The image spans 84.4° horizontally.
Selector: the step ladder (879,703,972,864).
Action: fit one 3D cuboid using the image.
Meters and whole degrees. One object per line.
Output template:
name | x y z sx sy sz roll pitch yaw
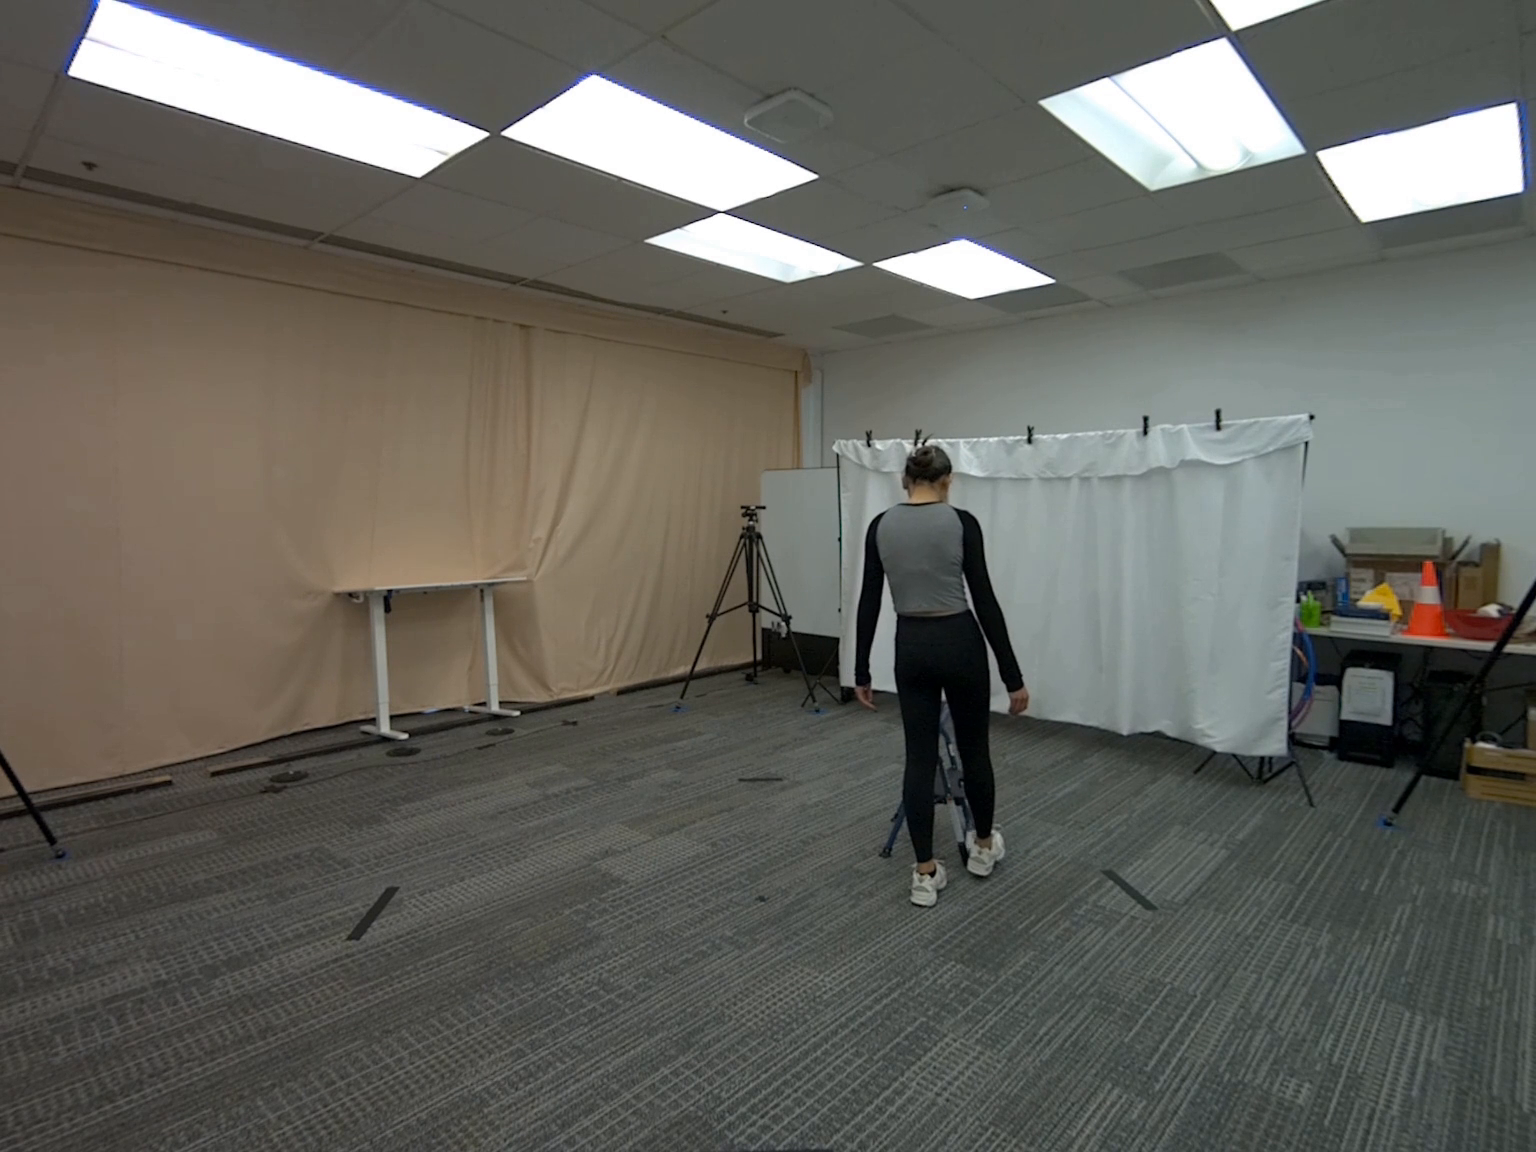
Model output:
step ladder | 0.672 0.802 3.468 0.356 0.605 0.423 0 3 17
